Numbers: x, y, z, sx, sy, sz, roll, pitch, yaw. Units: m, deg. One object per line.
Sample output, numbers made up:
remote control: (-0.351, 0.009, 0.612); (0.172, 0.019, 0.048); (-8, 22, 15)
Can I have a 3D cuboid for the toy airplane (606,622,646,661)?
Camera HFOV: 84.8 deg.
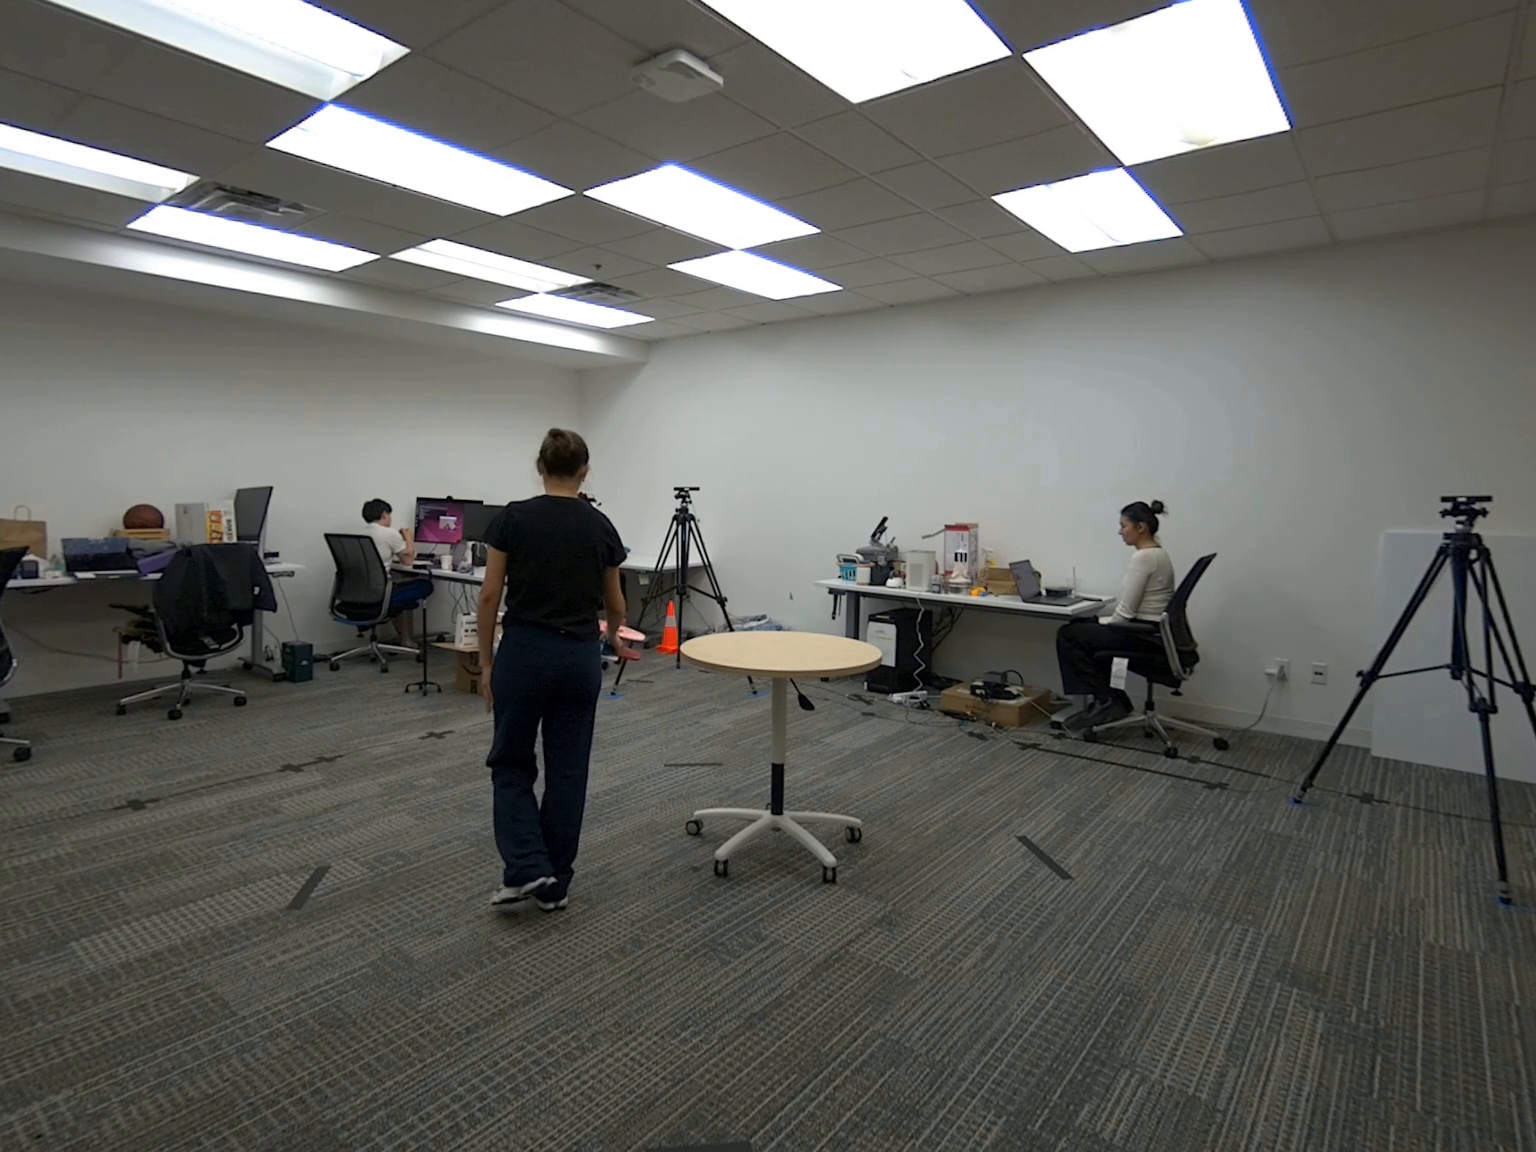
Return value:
toy airplane: (-0.576, 0.269, 3.310); (0.243, 0.156, 0.267); (17, -1, -30)
